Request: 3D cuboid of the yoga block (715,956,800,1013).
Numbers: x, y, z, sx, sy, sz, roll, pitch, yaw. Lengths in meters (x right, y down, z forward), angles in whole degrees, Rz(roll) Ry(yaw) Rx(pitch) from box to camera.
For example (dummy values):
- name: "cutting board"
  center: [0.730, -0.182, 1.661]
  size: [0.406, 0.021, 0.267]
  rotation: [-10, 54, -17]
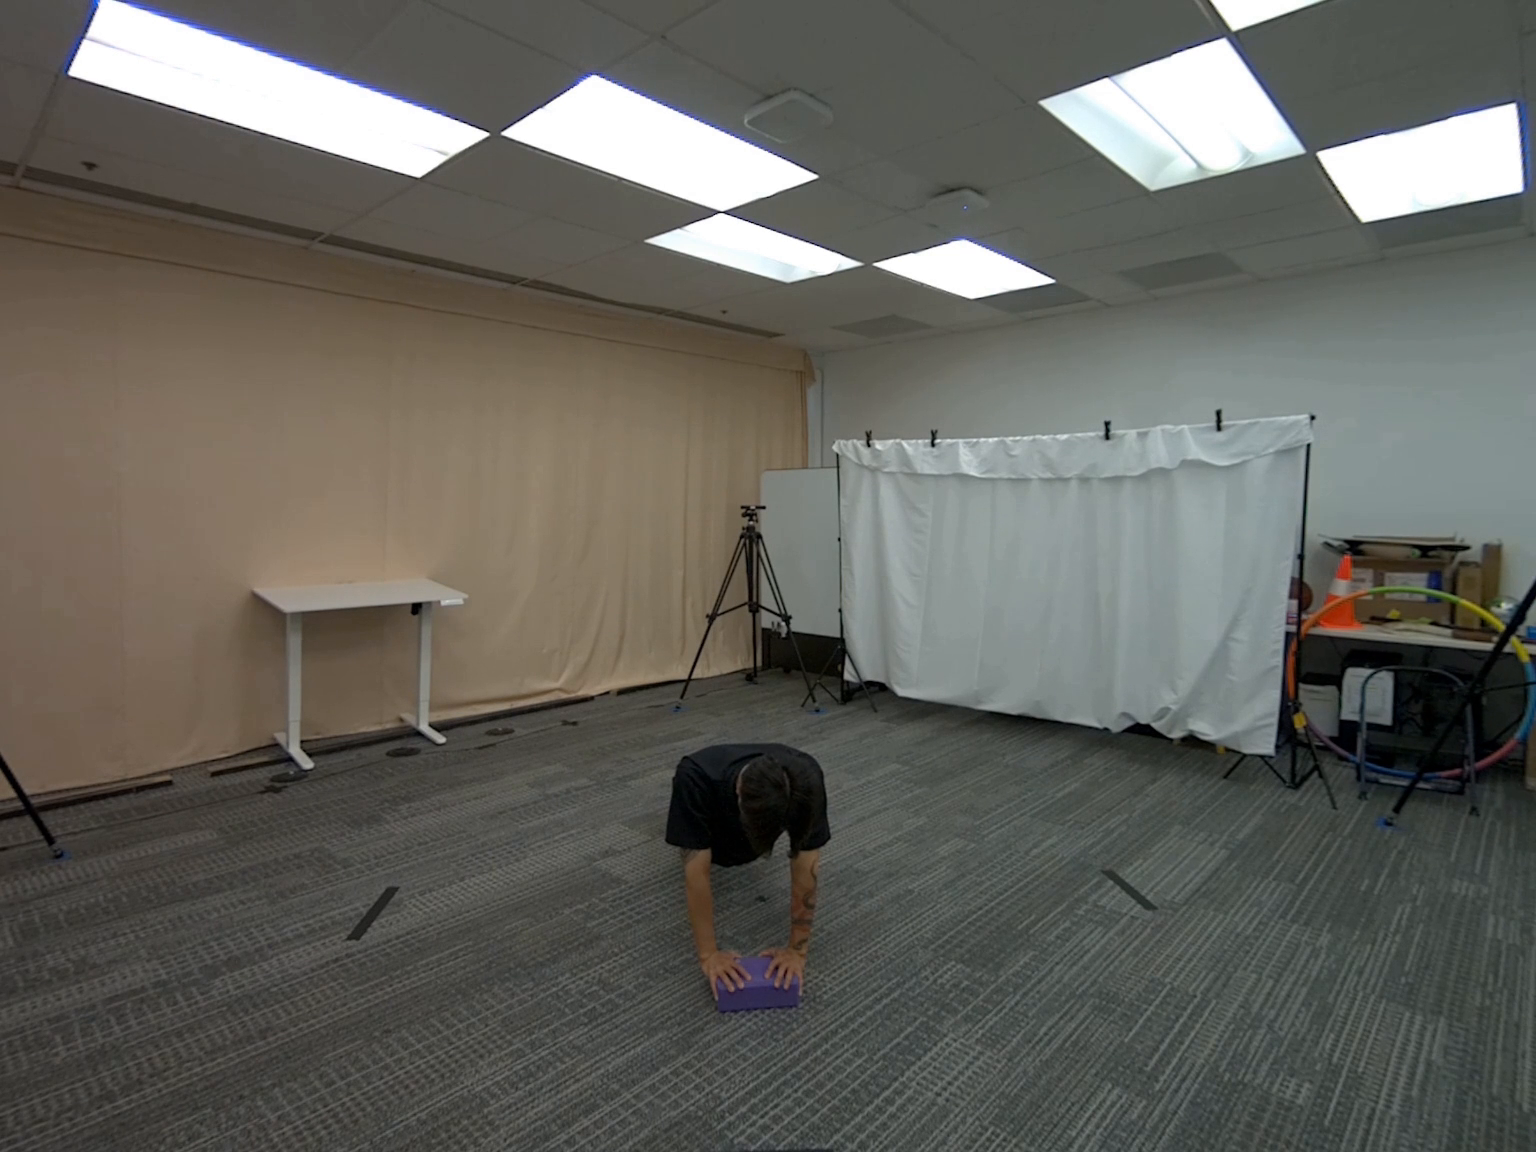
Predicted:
- name: "yoga block"
  center: [-0.039, 1.150, 2.394]
  size: [0.227, 0.076, 0.151]
  rotation: [0, 5, -9]
